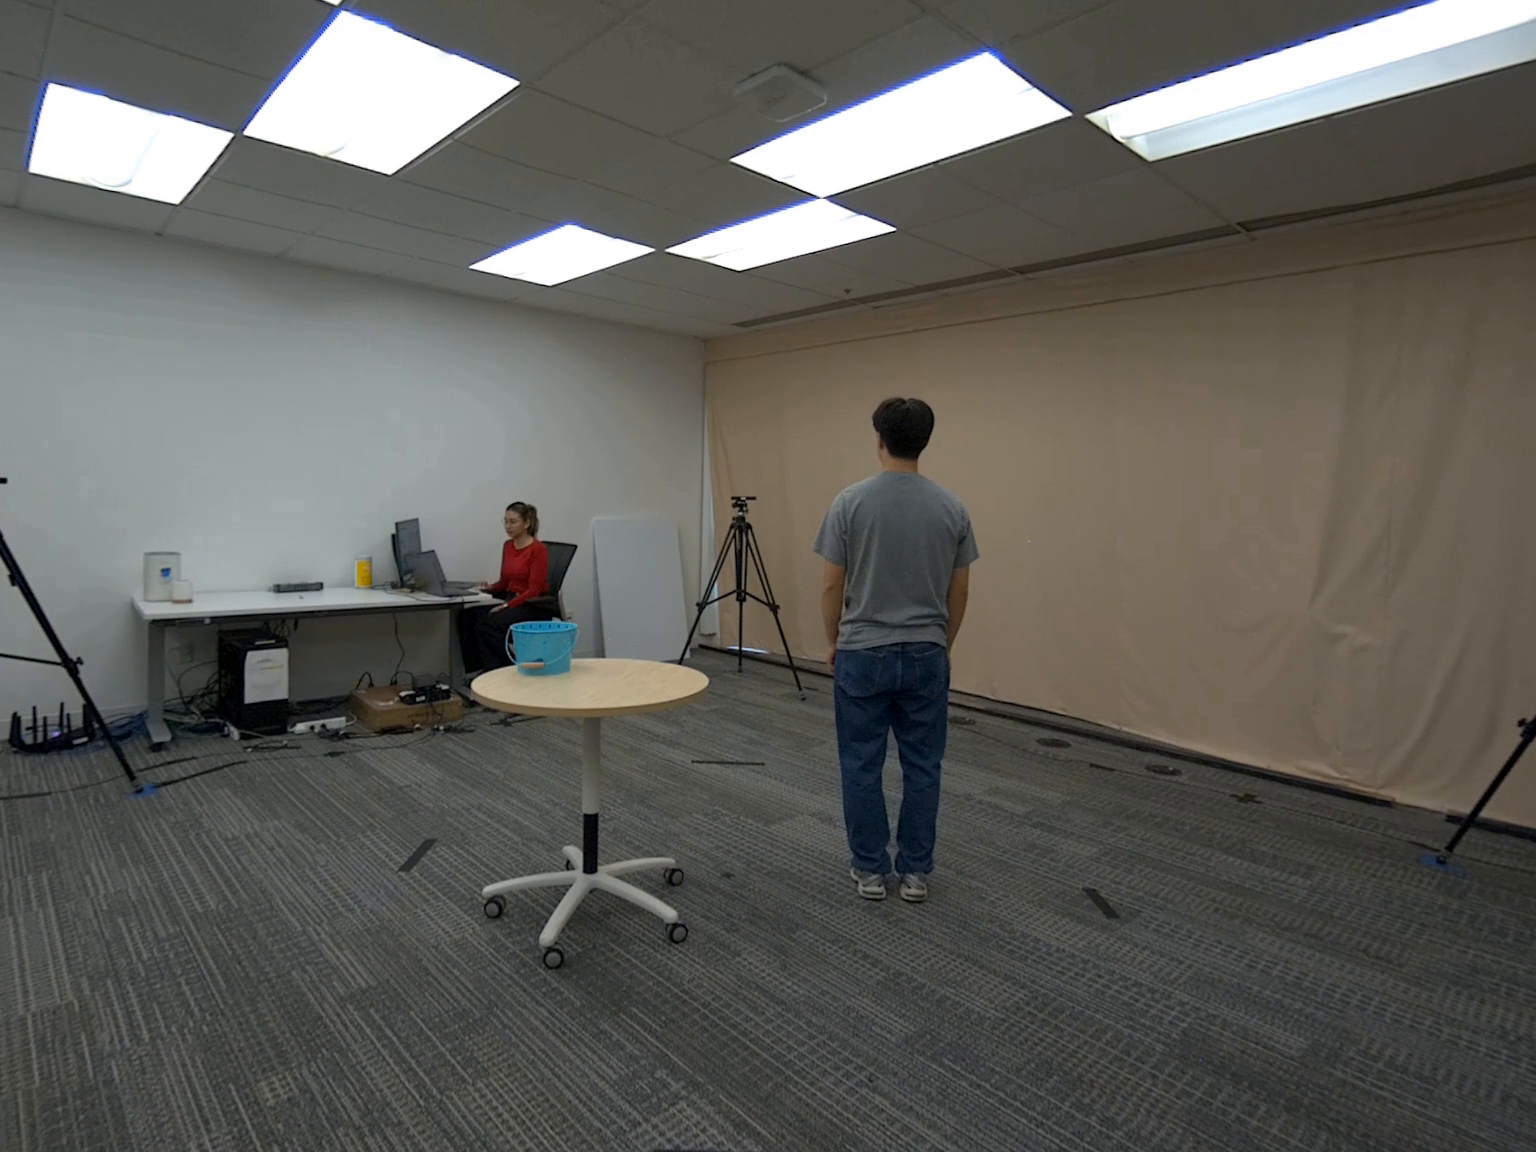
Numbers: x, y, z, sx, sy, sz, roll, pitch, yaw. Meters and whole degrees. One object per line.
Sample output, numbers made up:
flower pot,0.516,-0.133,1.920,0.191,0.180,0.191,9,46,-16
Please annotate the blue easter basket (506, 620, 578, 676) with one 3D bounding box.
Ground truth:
blue easter basket,-0.795,0.254,2.902,0.243,0.155,0.244,1,5,-1
